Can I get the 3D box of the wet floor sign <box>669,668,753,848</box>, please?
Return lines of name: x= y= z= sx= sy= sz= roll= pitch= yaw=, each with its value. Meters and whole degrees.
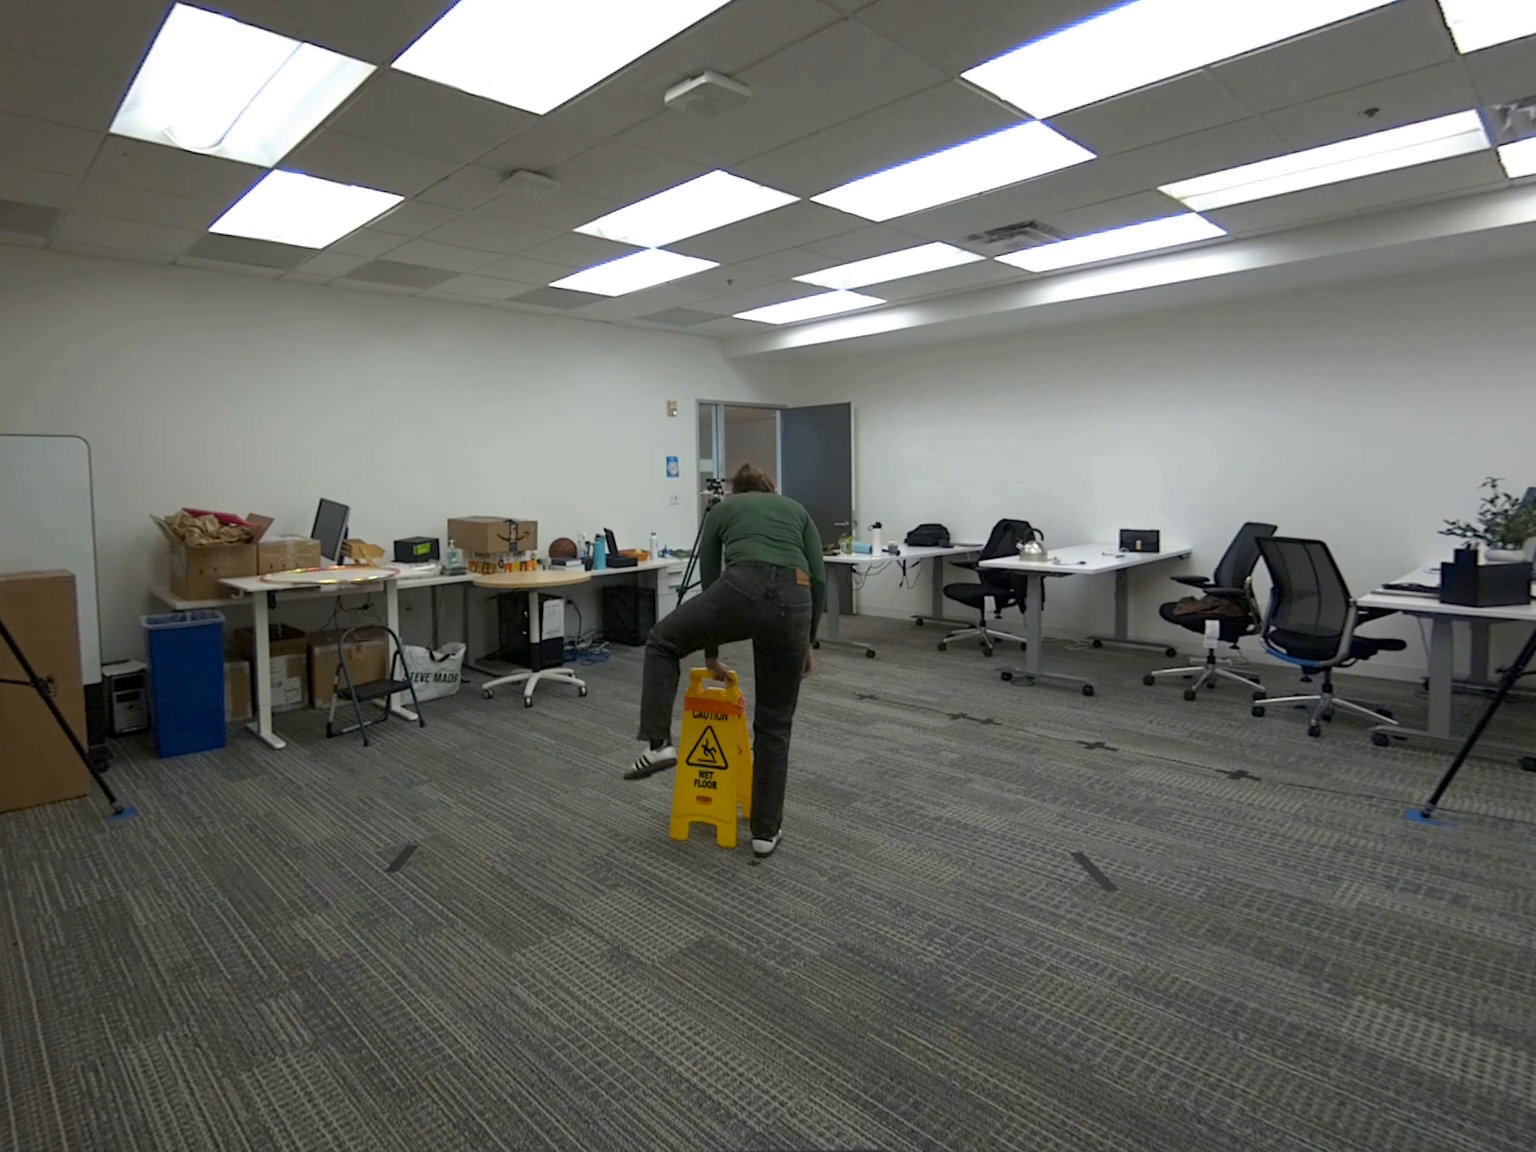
wet floor sign: x=-0.218 y=0.692 z=3.405 sx=0.287 sy=0.644 sz=0.285 roll=0 pitch=4 yaw=19
